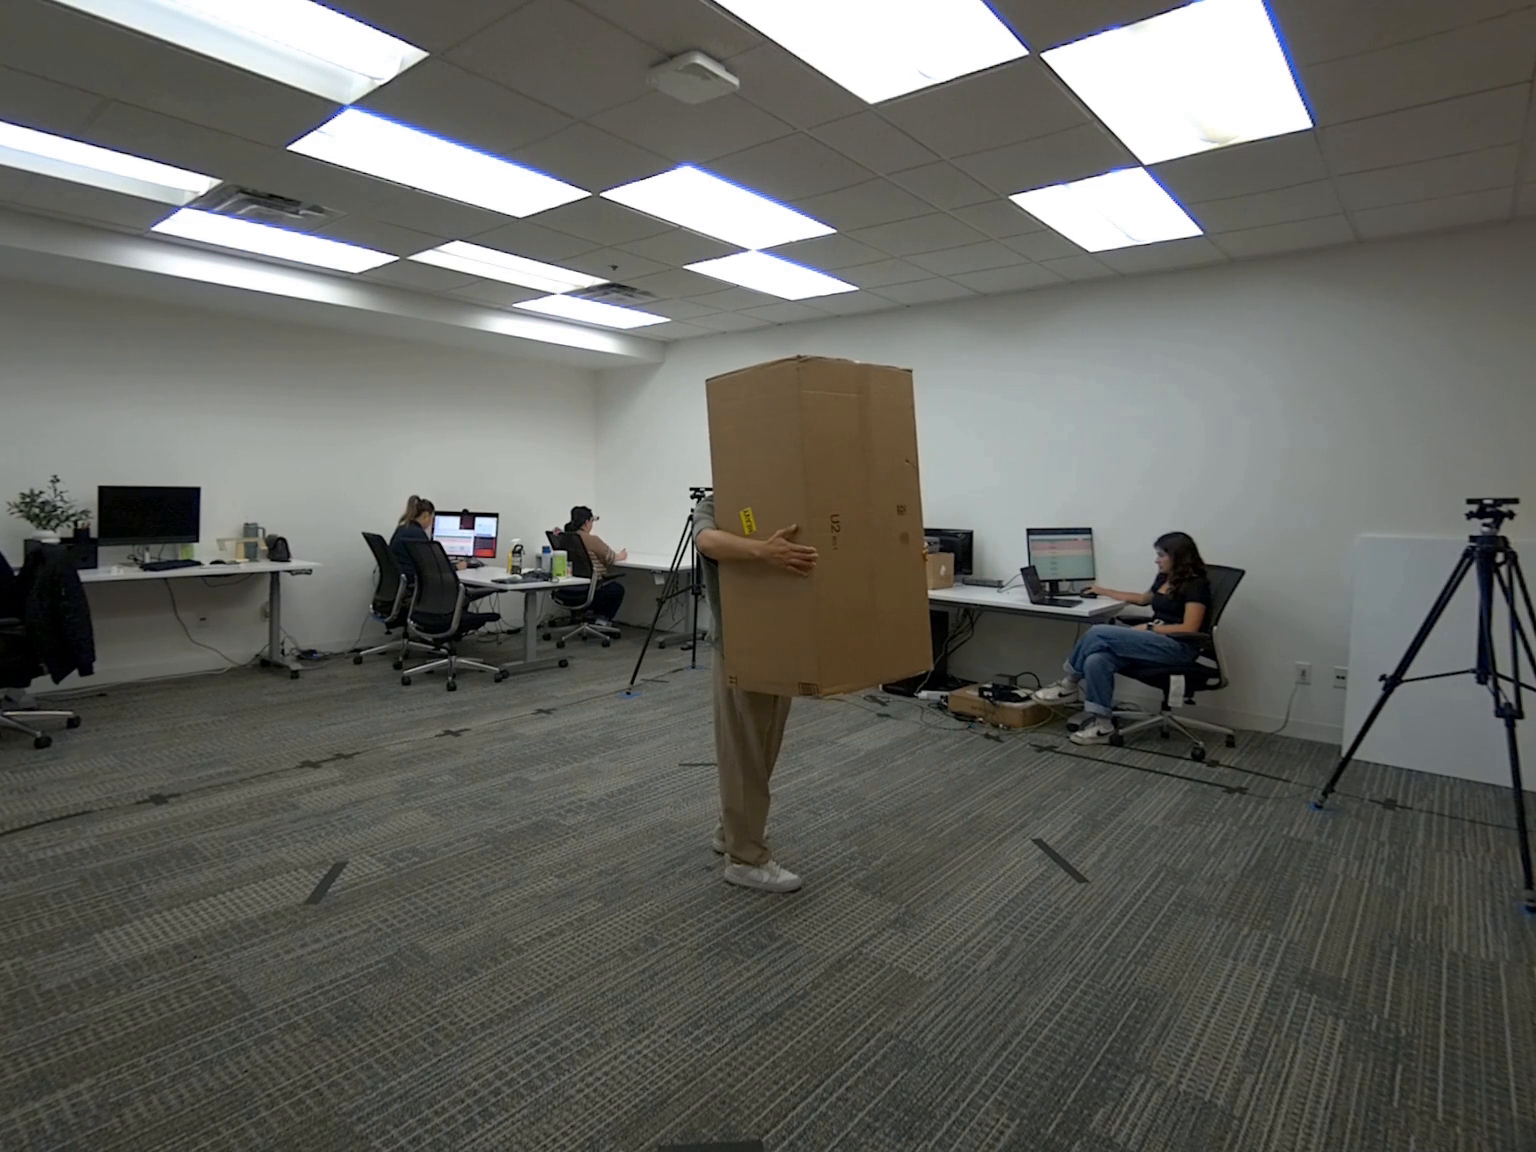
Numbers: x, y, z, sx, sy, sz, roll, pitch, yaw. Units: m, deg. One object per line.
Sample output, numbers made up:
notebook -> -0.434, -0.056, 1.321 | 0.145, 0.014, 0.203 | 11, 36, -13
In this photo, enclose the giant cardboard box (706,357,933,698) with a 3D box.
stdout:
giant cardboard box -> 0.166, -0.168, 2.837 | 0.561, 1.025, 0.439 | -5, 2, -43
